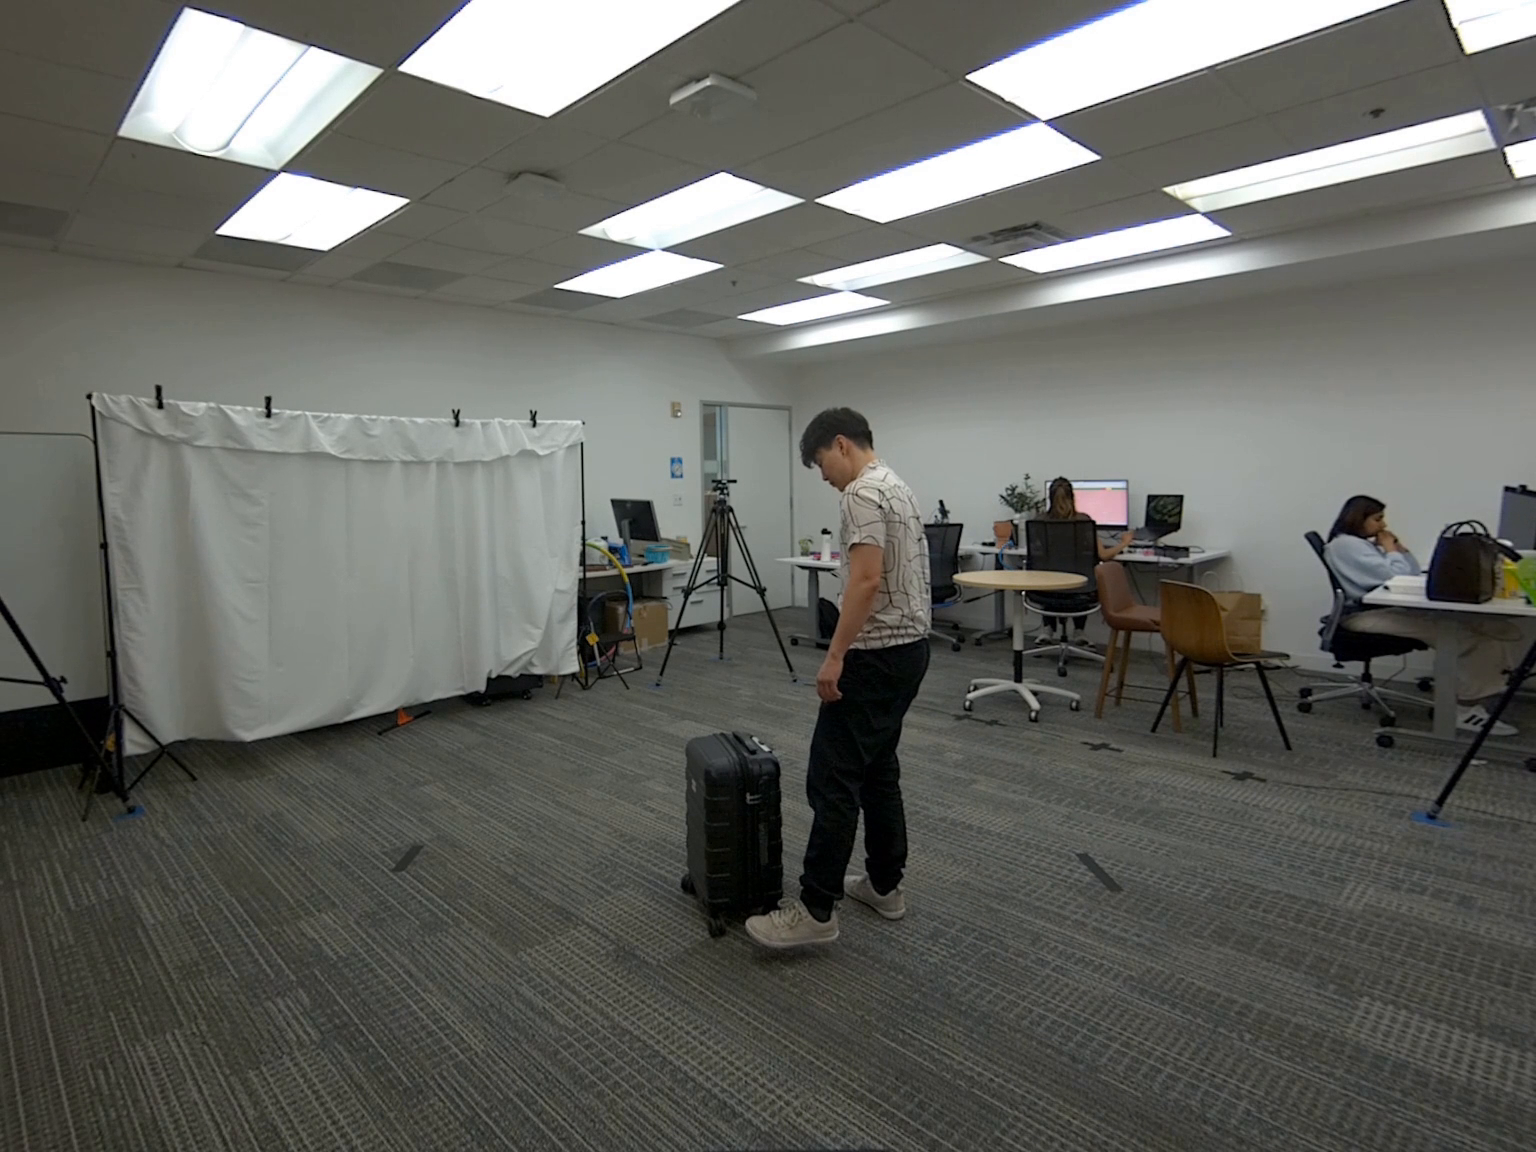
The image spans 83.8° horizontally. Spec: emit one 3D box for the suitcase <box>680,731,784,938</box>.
[{"bbox_3d":[-0.111,0.804,2.795,0.244,0.547,0.383,-3,5,-20],"label":"suitcase"}]
